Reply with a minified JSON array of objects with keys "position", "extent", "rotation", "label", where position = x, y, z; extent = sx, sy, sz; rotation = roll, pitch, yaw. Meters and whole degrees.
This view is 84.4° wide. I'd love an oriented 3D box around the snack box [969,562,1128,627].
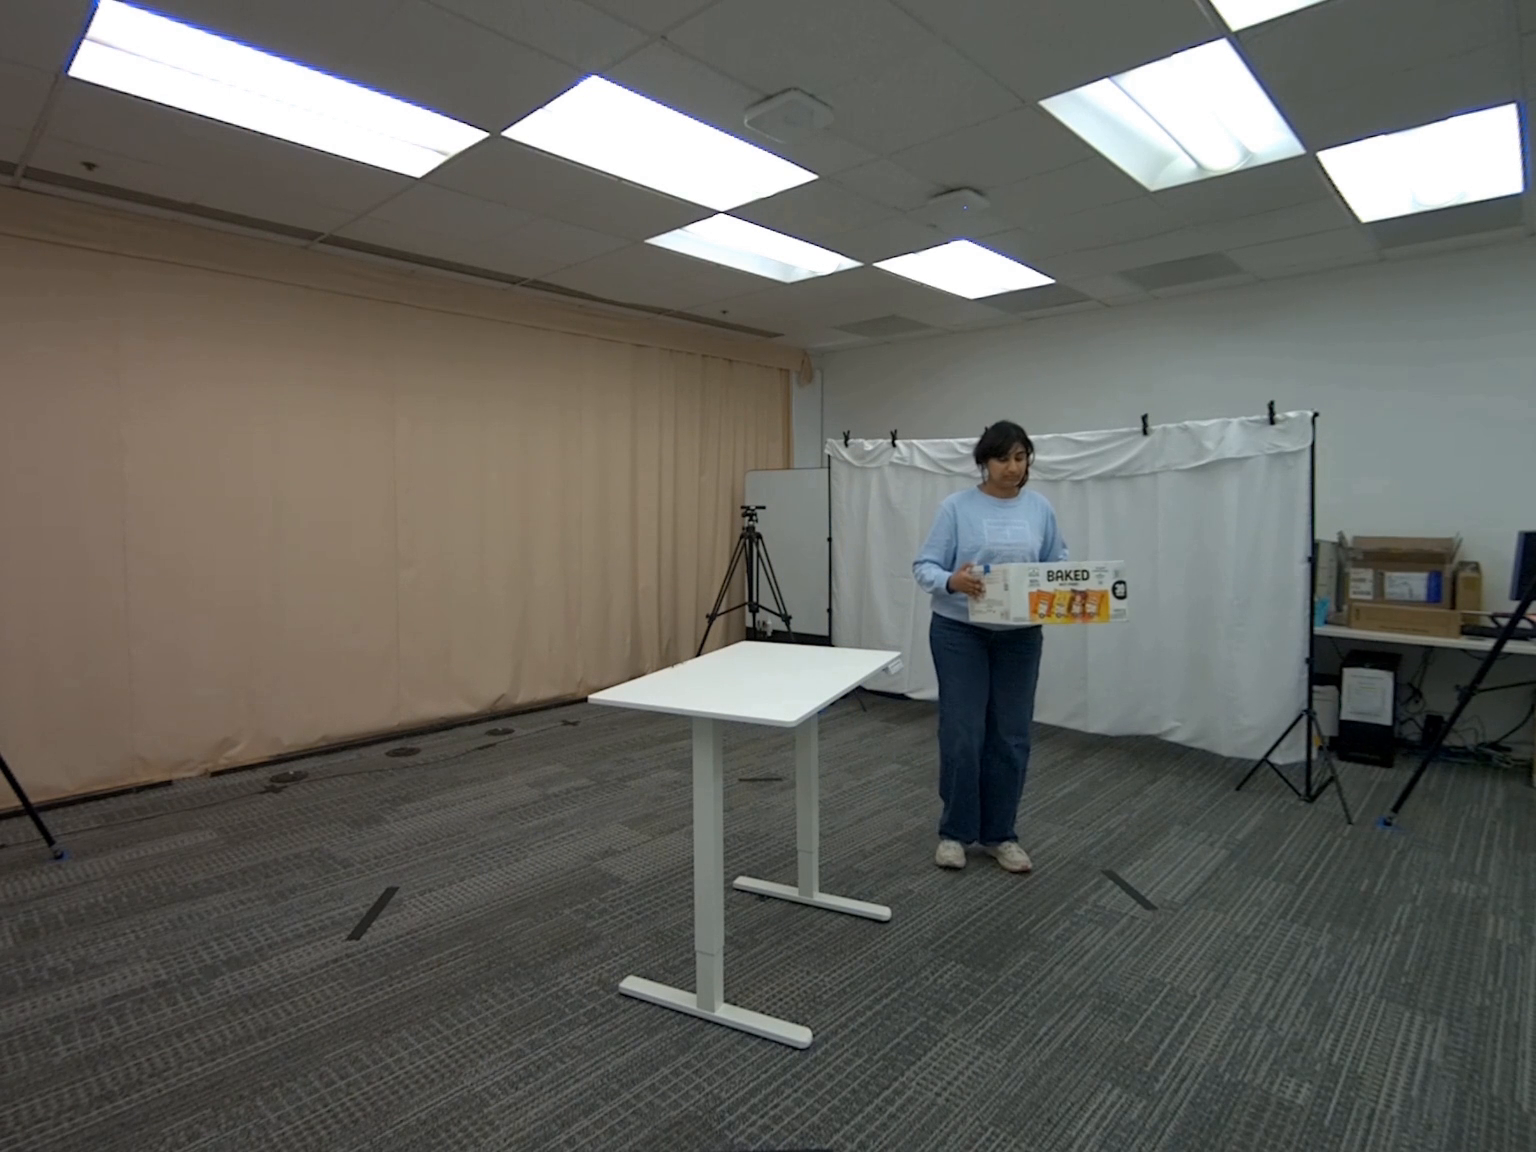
[{"position":[0.952,0.058,2.910],"extent":[0.402,0.206,0.342],"rotation":[-2,-2,-8],"label":"snack box"}]
